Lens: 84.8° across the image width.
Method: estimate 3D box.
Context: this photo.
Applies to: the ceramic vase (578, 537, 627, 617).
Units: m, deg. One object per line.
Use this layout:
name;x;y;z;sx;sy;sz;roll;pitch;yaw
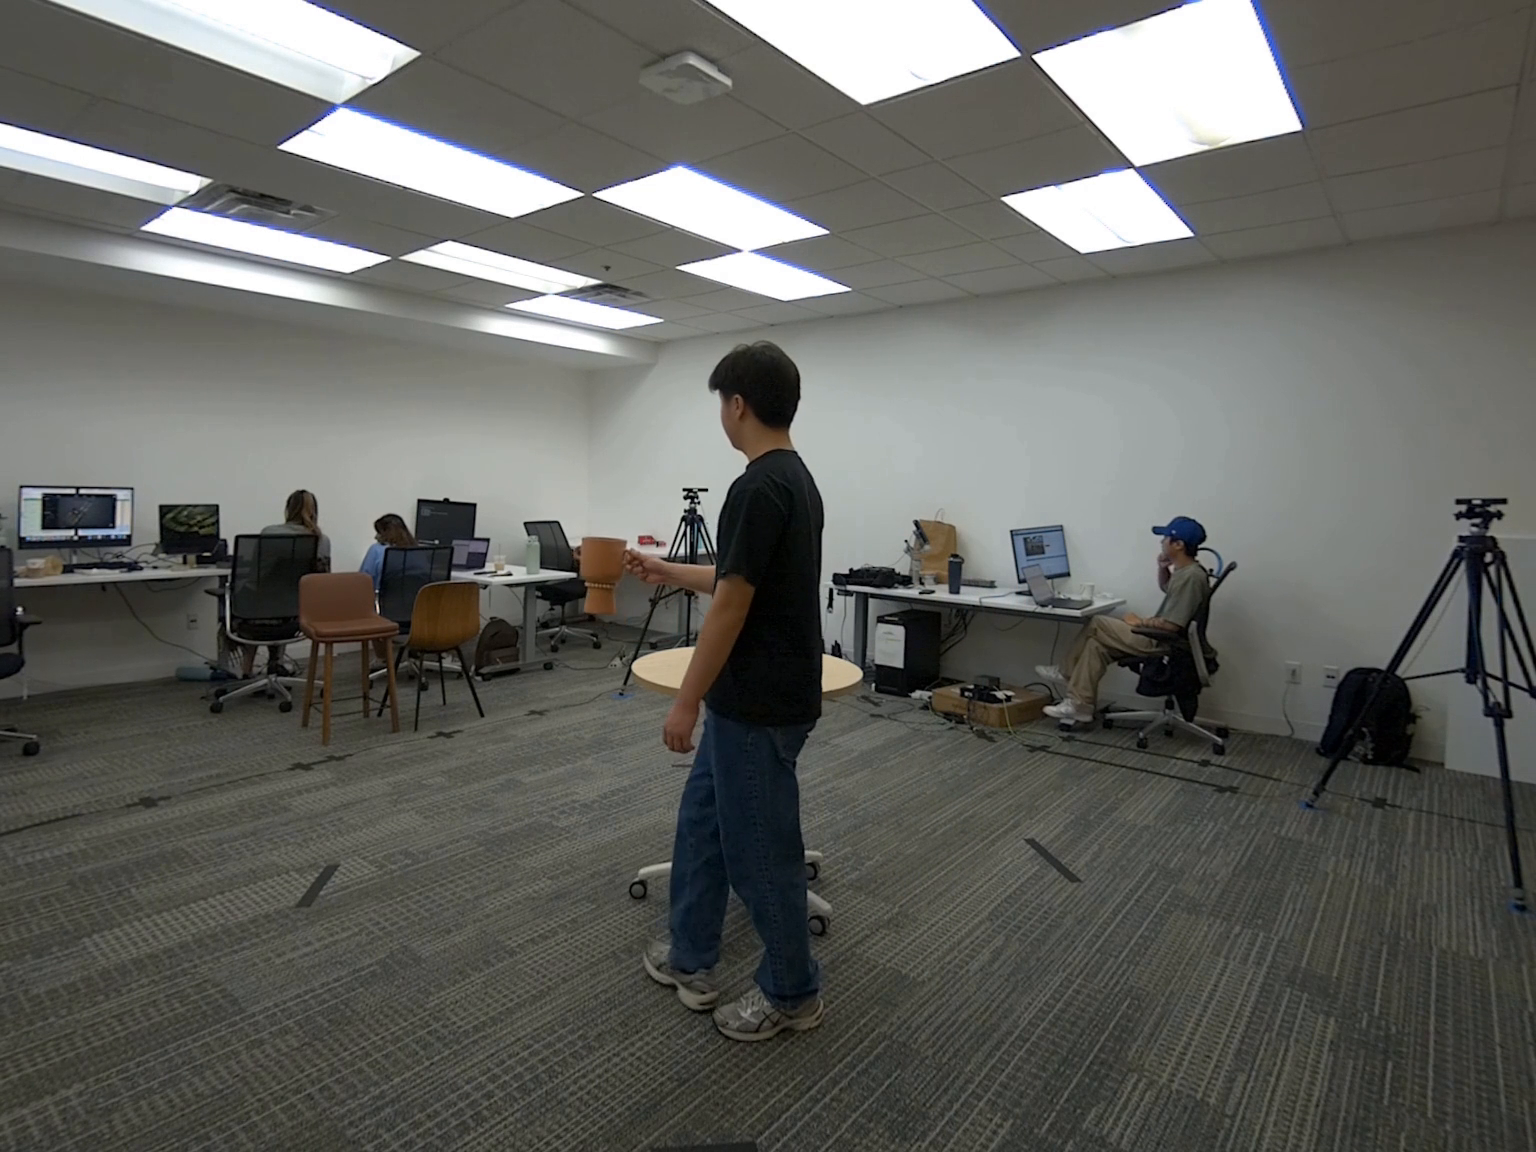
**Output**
ceramic vase;-0.495;0.000;2.519;0.130;0.219;0.164;2;3;-36
